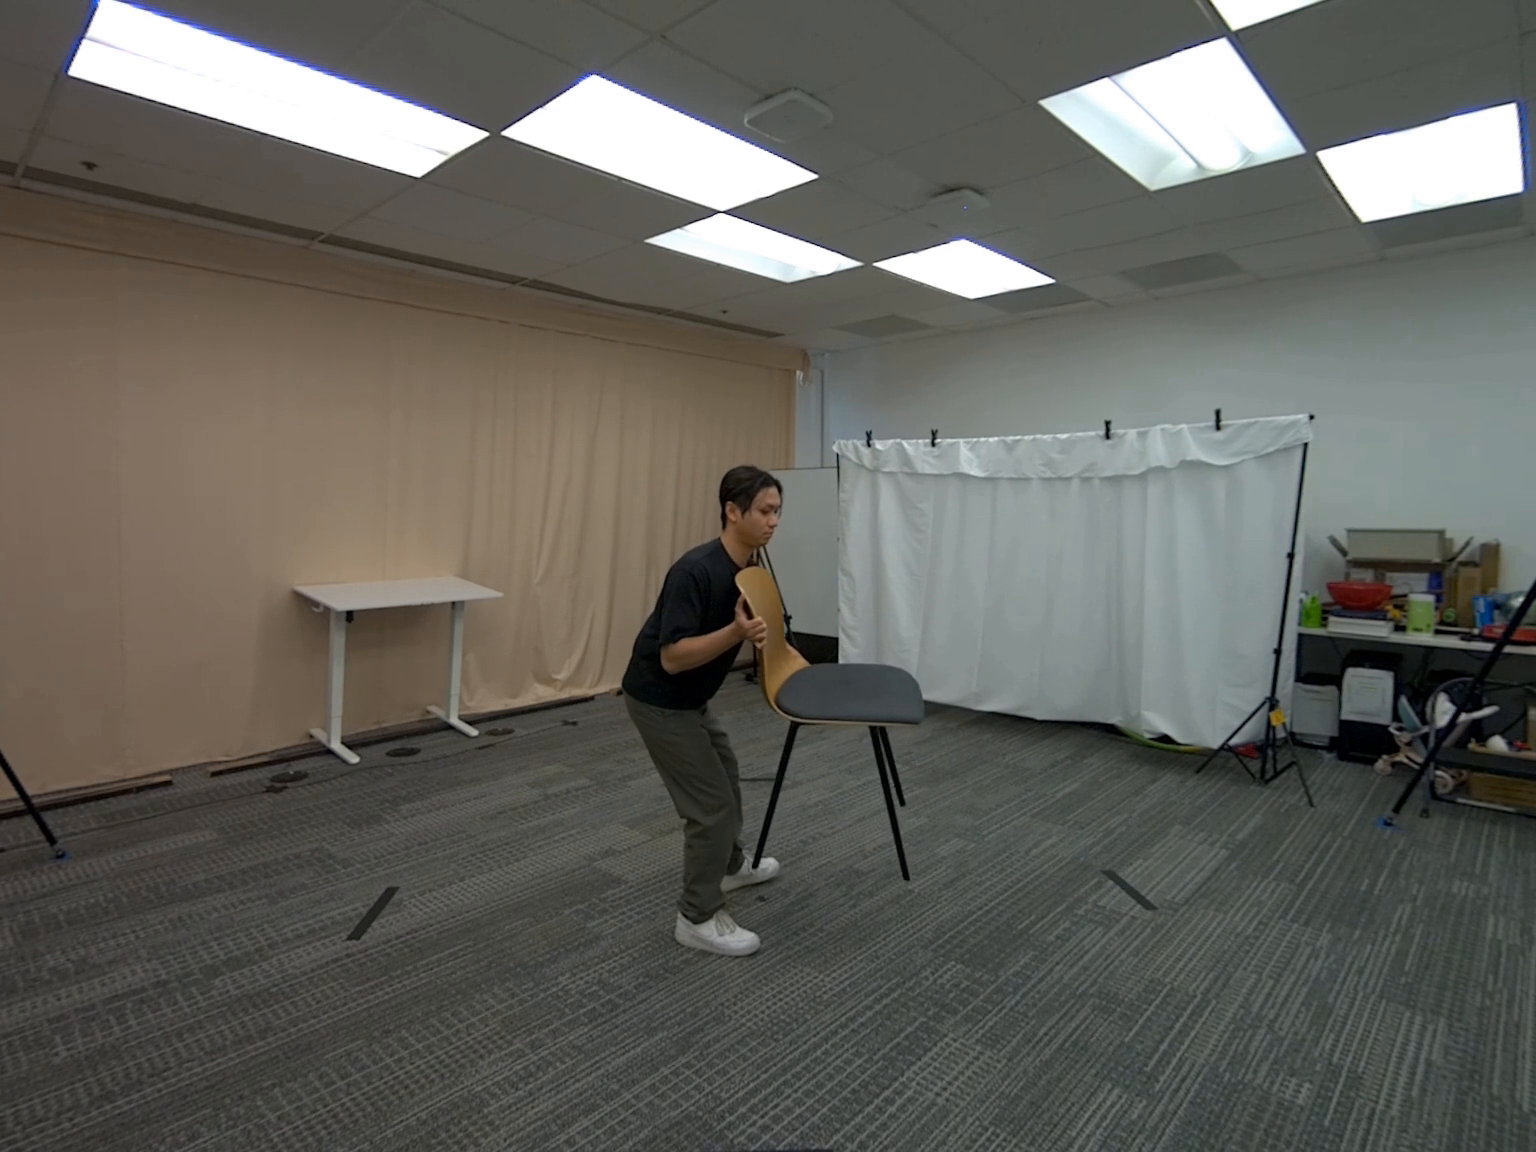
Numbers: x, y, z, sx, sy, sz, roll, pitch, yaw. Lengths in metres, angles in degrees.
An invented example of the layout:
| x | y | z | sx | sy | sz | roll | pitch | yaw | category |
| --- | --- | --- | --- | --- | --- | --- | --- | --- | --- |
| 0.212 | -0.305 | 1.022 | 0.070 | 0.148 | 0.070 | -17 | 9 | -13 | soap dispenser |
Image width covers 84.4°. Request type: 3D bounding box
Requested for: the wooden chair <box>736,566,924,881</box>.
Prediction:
| x | y | z | sx | sy | sz | roll | pitch | yaw | category |
| --- | --- | --- | --- | --- | --- | --- | --- | --- | --- |
| 0.212 | 0.410 | 2.576 | 0.529 | 0.871 | 0.476 | -3 | 10 | 10 | wooden chair |
